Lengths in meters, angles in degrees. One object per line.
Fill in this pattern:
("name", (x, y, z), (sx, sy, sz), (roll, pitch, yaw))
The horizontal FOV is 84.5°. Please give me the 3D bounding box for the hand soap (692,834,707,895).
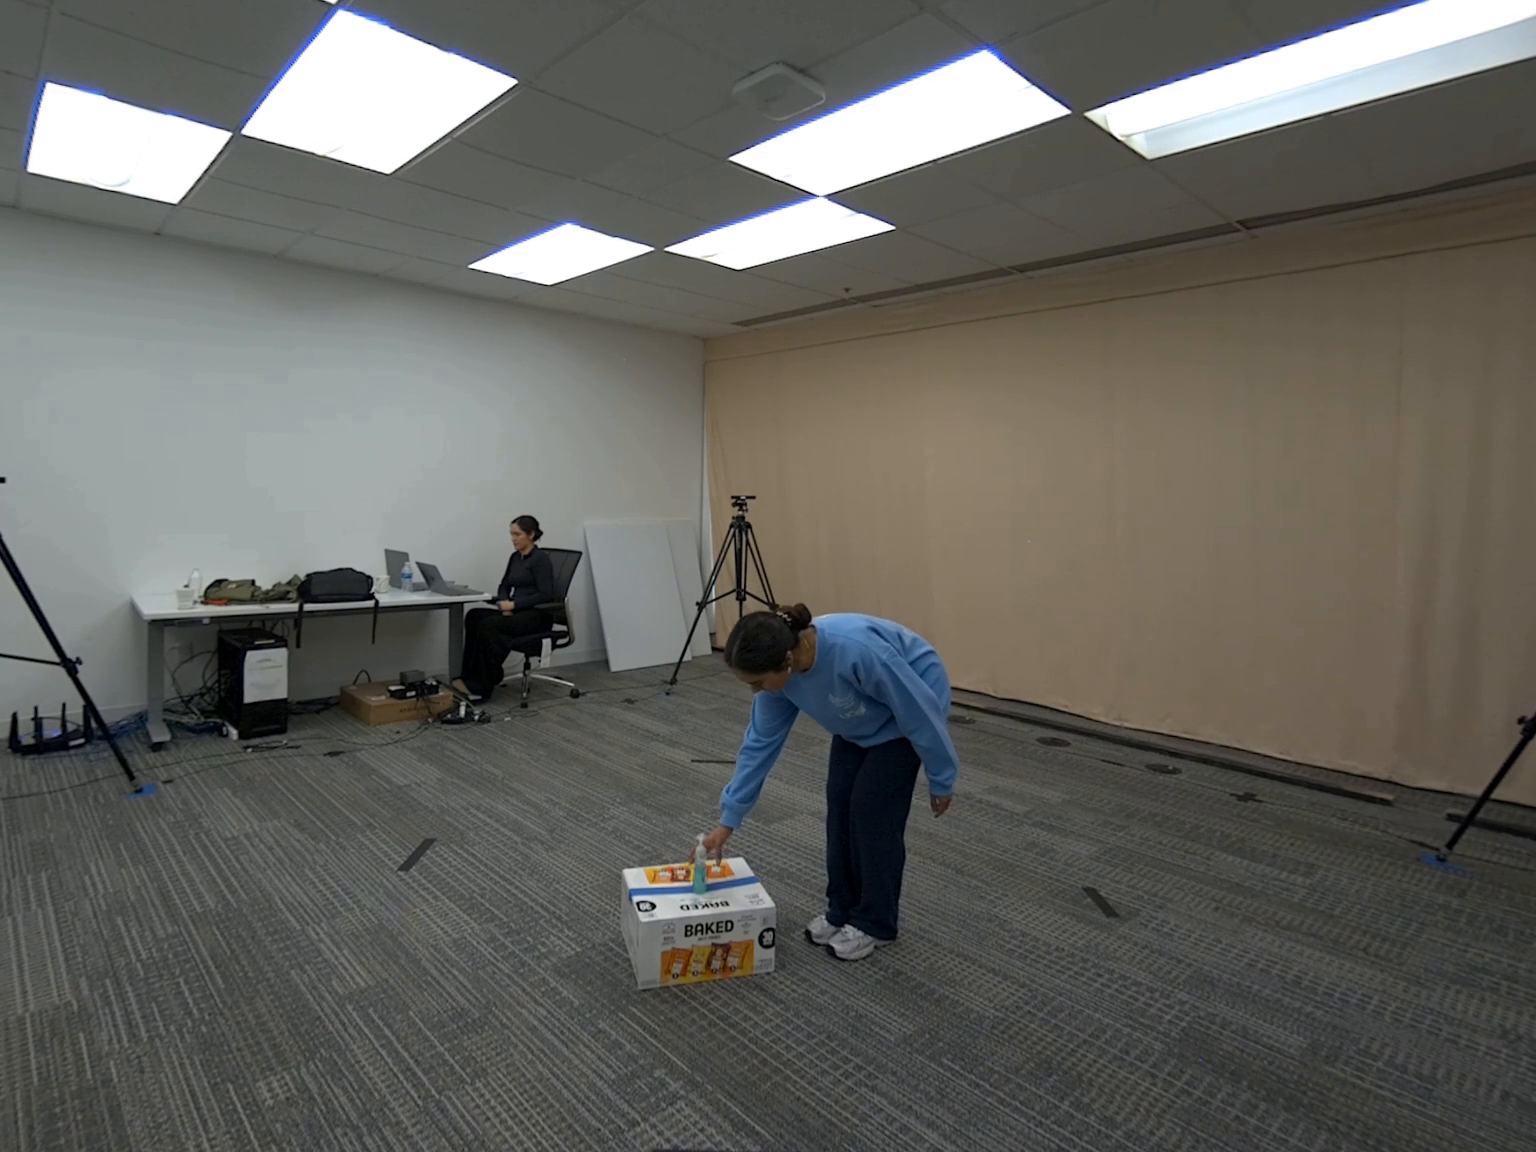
("hand soap", (-0.210, 0.871, 2.563), (0.044, 0.167, 0.084), (6, 5, 8))
